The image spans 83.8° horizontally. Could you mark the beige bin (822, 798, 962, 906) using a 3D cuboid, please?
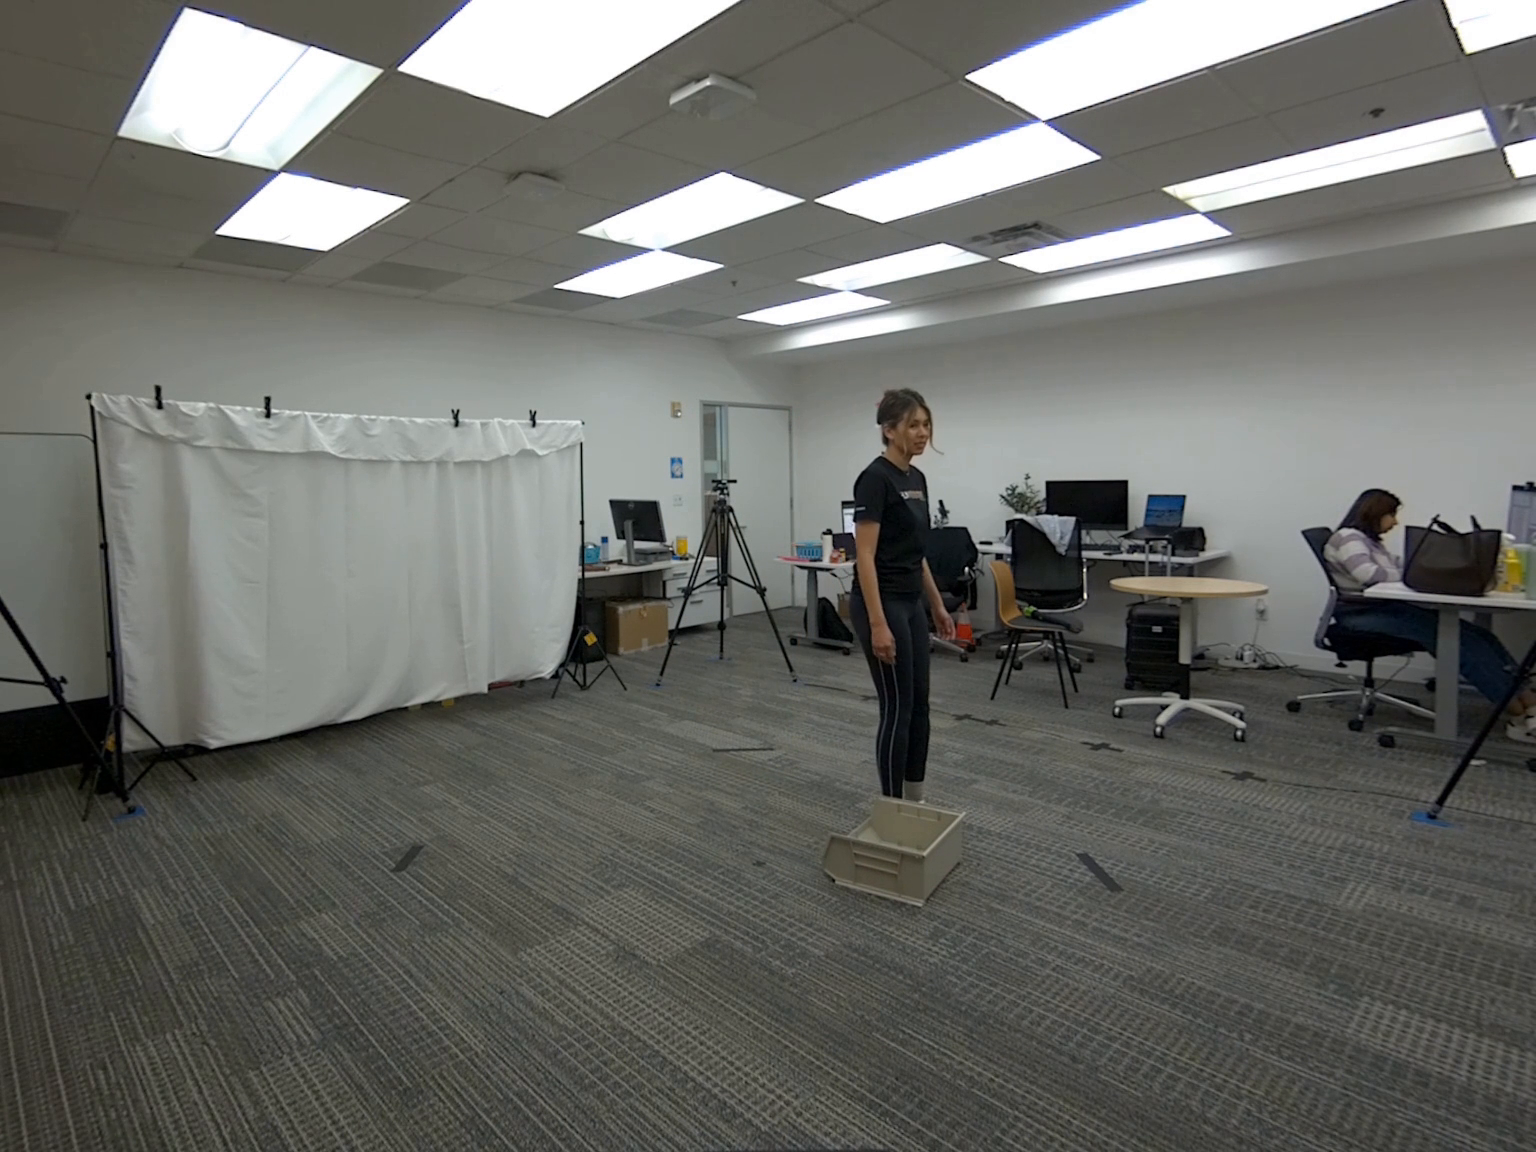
[{"bbox_3d":[0.457,0.961,3.030,0.388,0.188,0.412,3,6,32],"label":"beige bin"}]
